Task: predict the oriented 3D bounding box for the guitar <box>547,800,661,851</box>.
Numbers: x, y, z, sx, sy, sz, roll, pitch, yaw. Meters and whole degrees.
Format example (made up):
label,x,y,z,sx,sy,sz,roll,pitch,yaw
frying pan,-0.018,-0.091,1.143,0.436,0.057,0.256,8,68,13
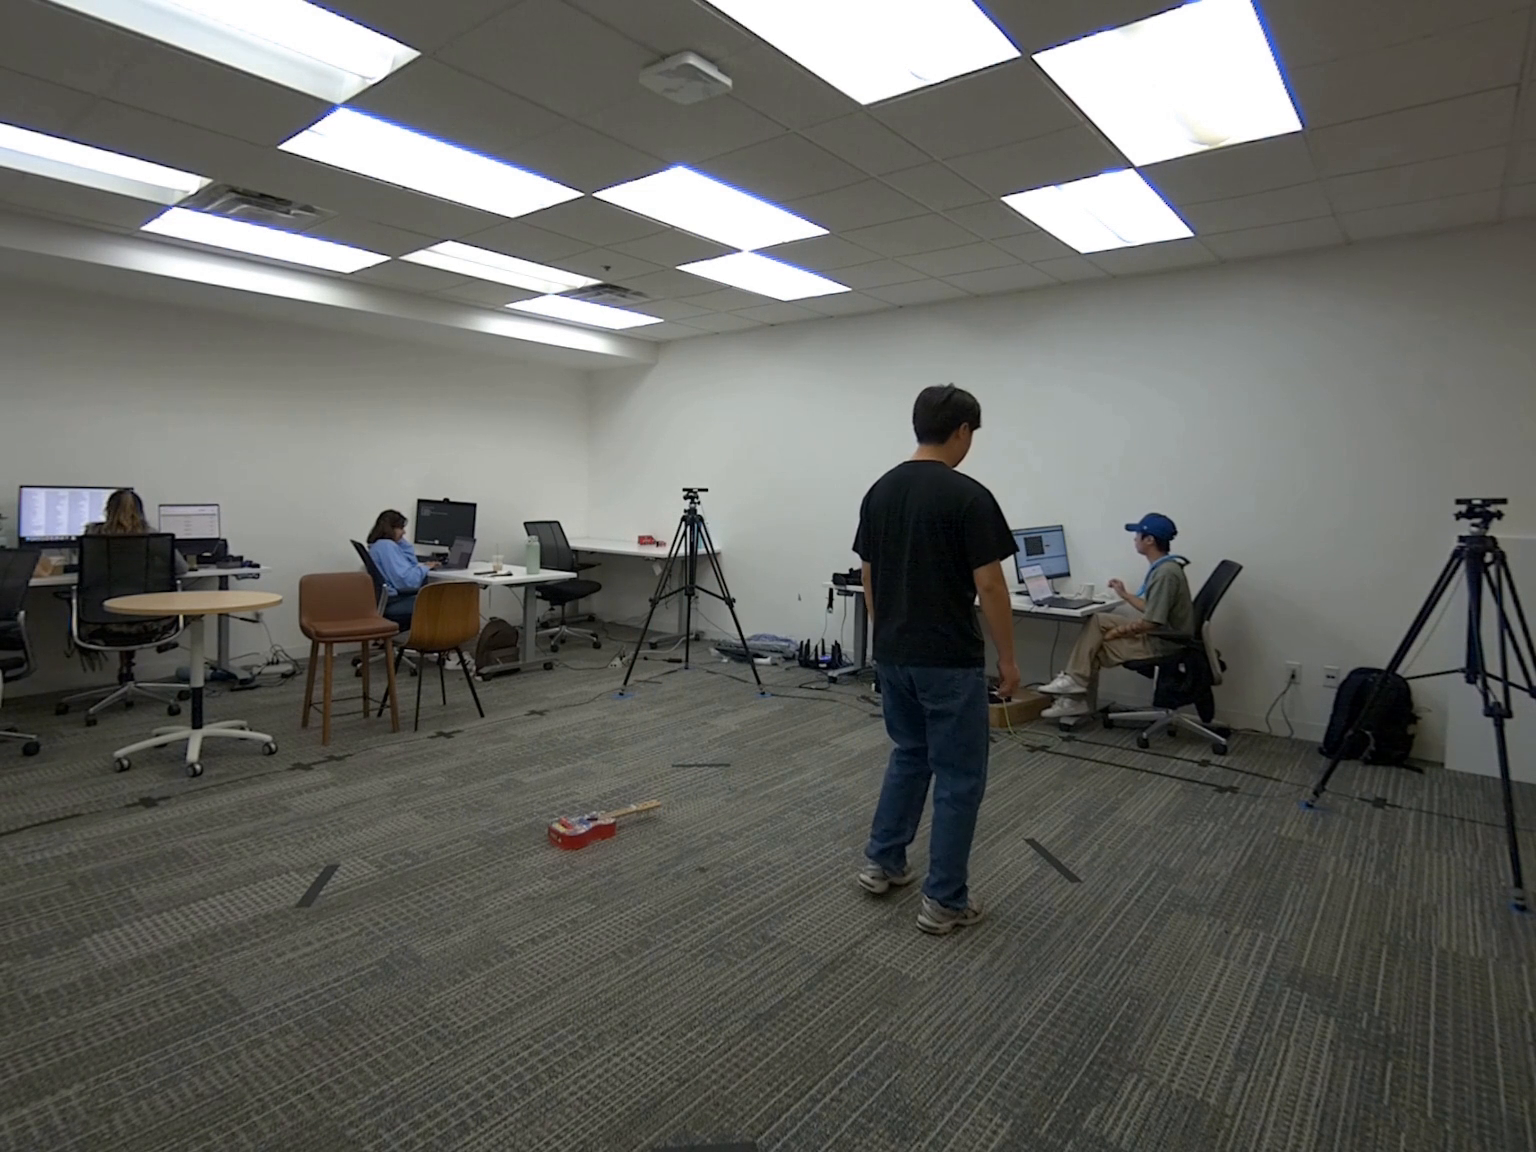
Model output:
label,x,y,z,sx,sy,sz,roll,pitch,yaw
guitar,-0.648,0.998,3.432,0.485,0.070,0.199,-3,6,-31
